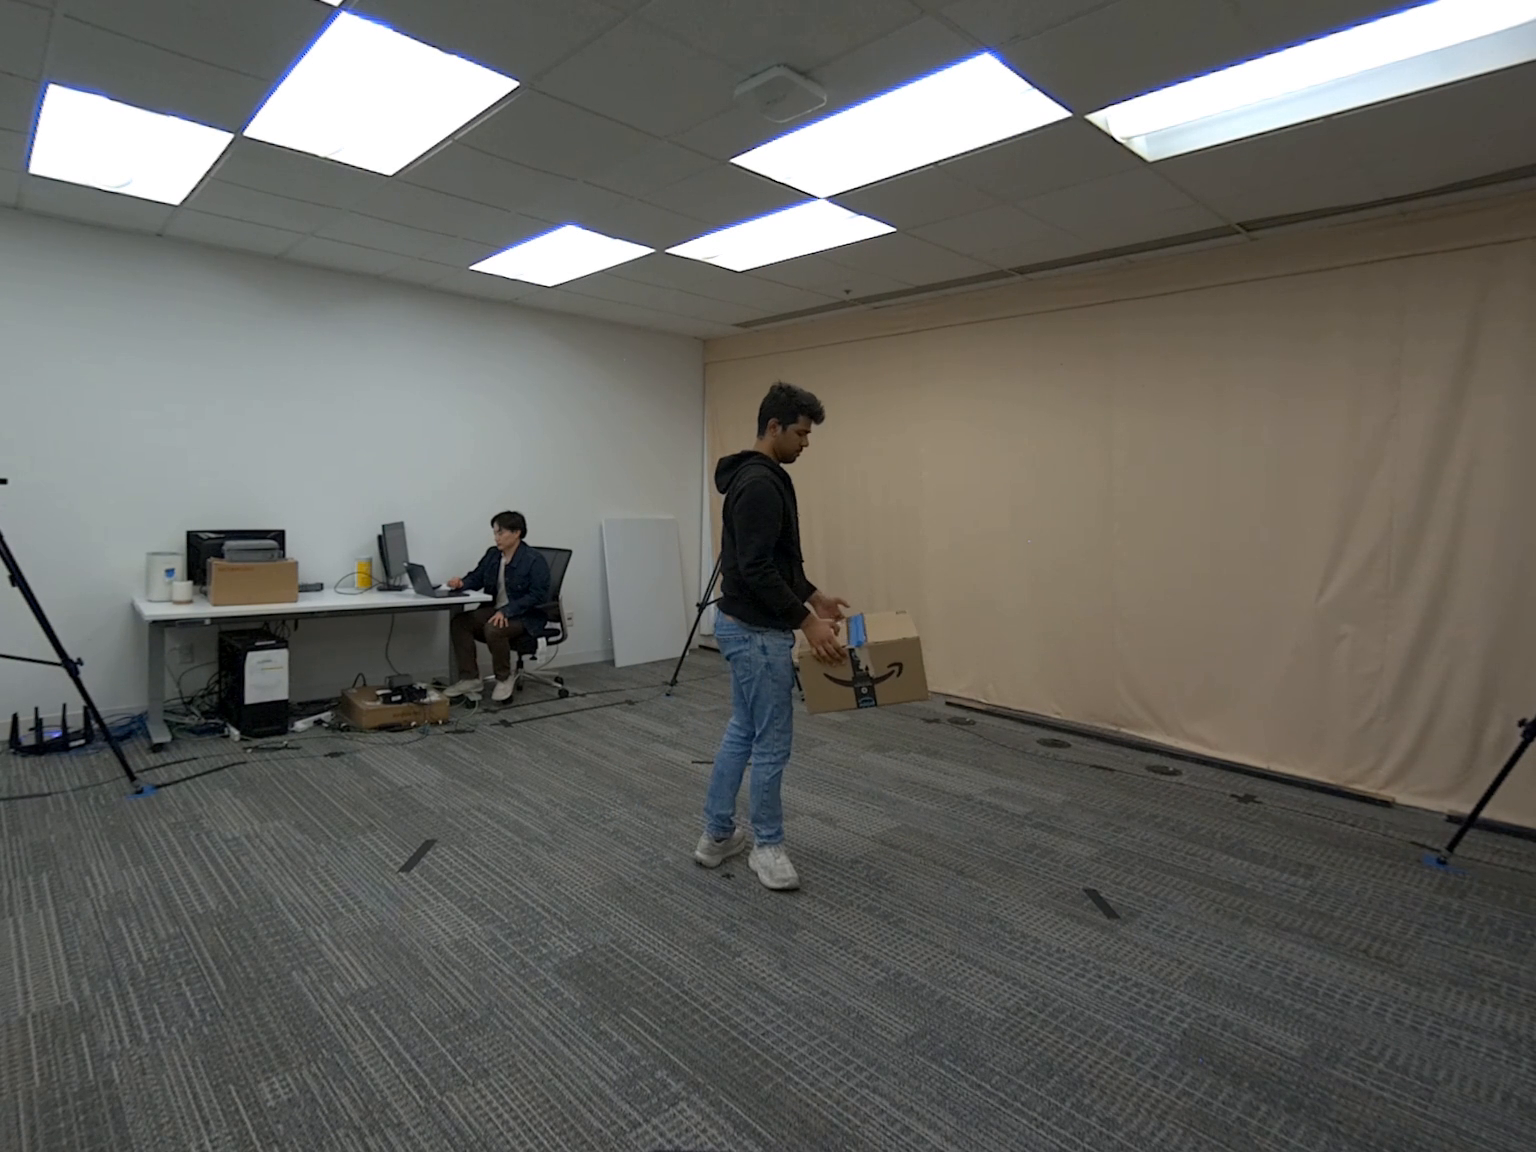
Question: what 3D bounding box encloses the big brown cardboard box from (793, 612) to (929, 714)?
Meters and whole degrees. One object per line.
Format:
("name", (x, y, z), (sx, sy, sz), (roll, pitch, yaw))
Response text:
("big brown cardboard box", (0.329, 0.302, 3.118), (0.419, 0.232, 0.588), (-10, 6, 6))
